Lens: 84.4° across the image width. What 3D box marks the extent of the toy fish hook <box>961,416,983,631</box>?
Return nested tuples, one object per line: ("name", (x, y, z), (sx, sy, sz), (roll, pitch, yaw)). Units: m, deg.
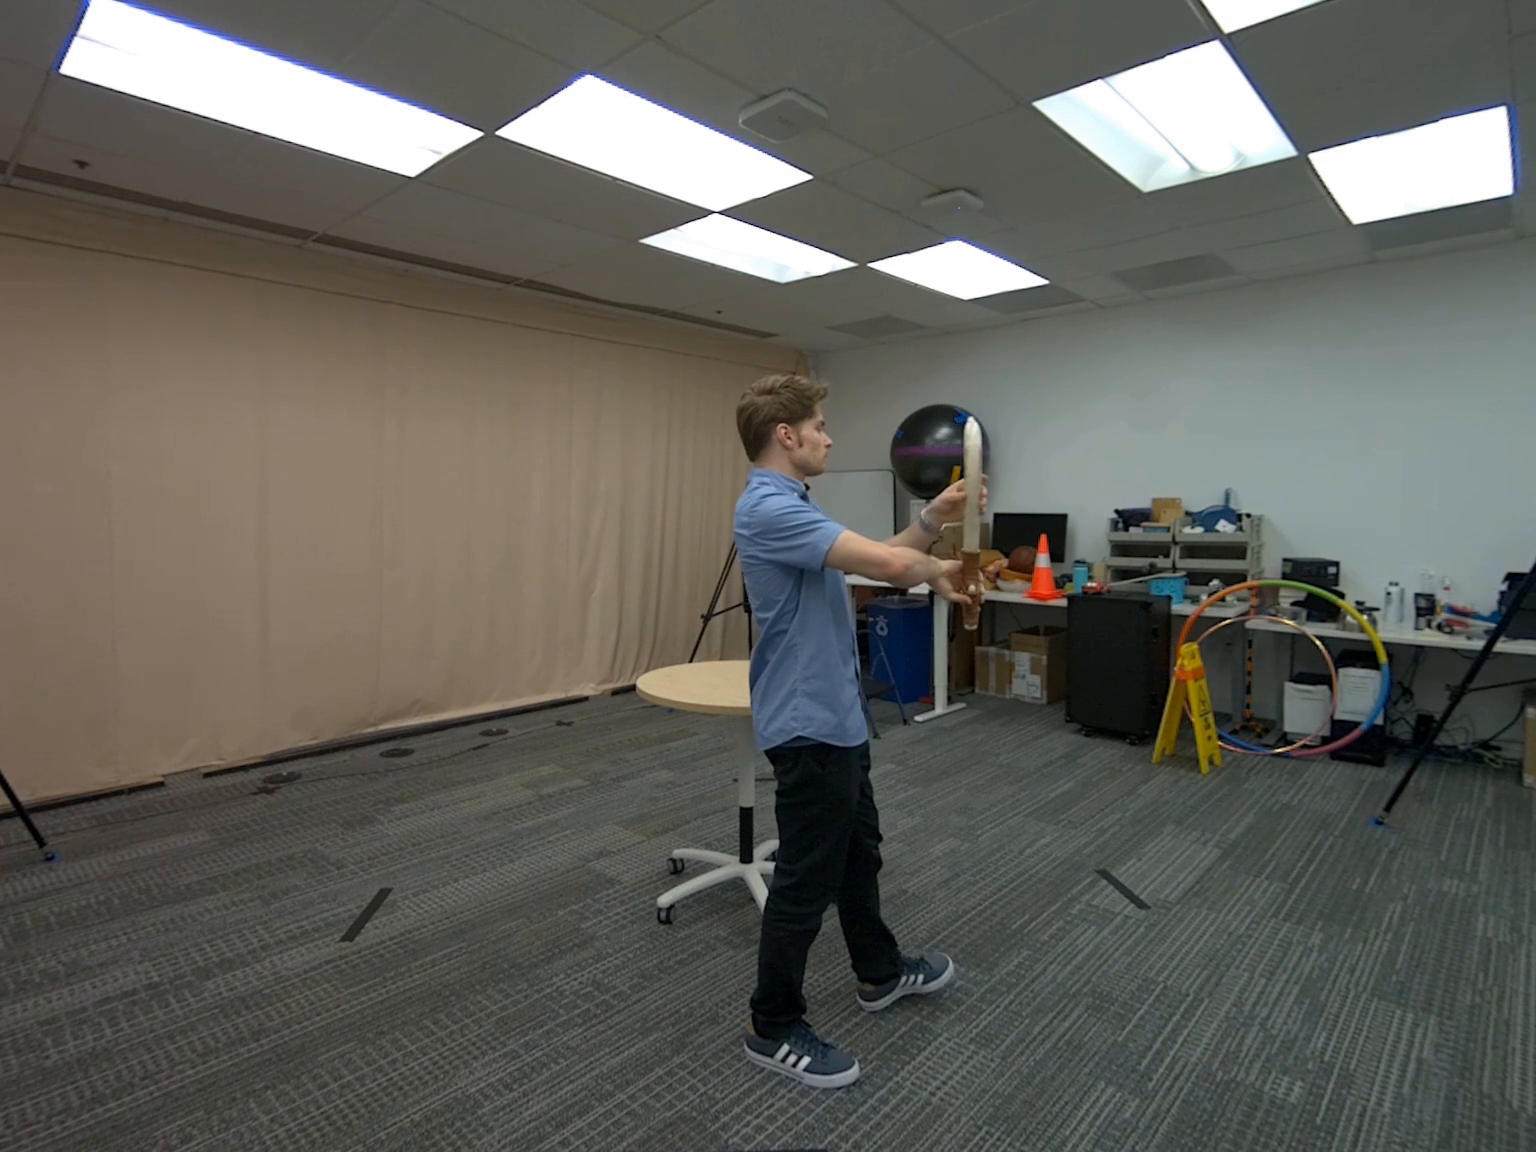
("toy fish hook", (0.507, -0.127, 2.020), (0.049, 0.502, 0.222), (2, 14, 15))
